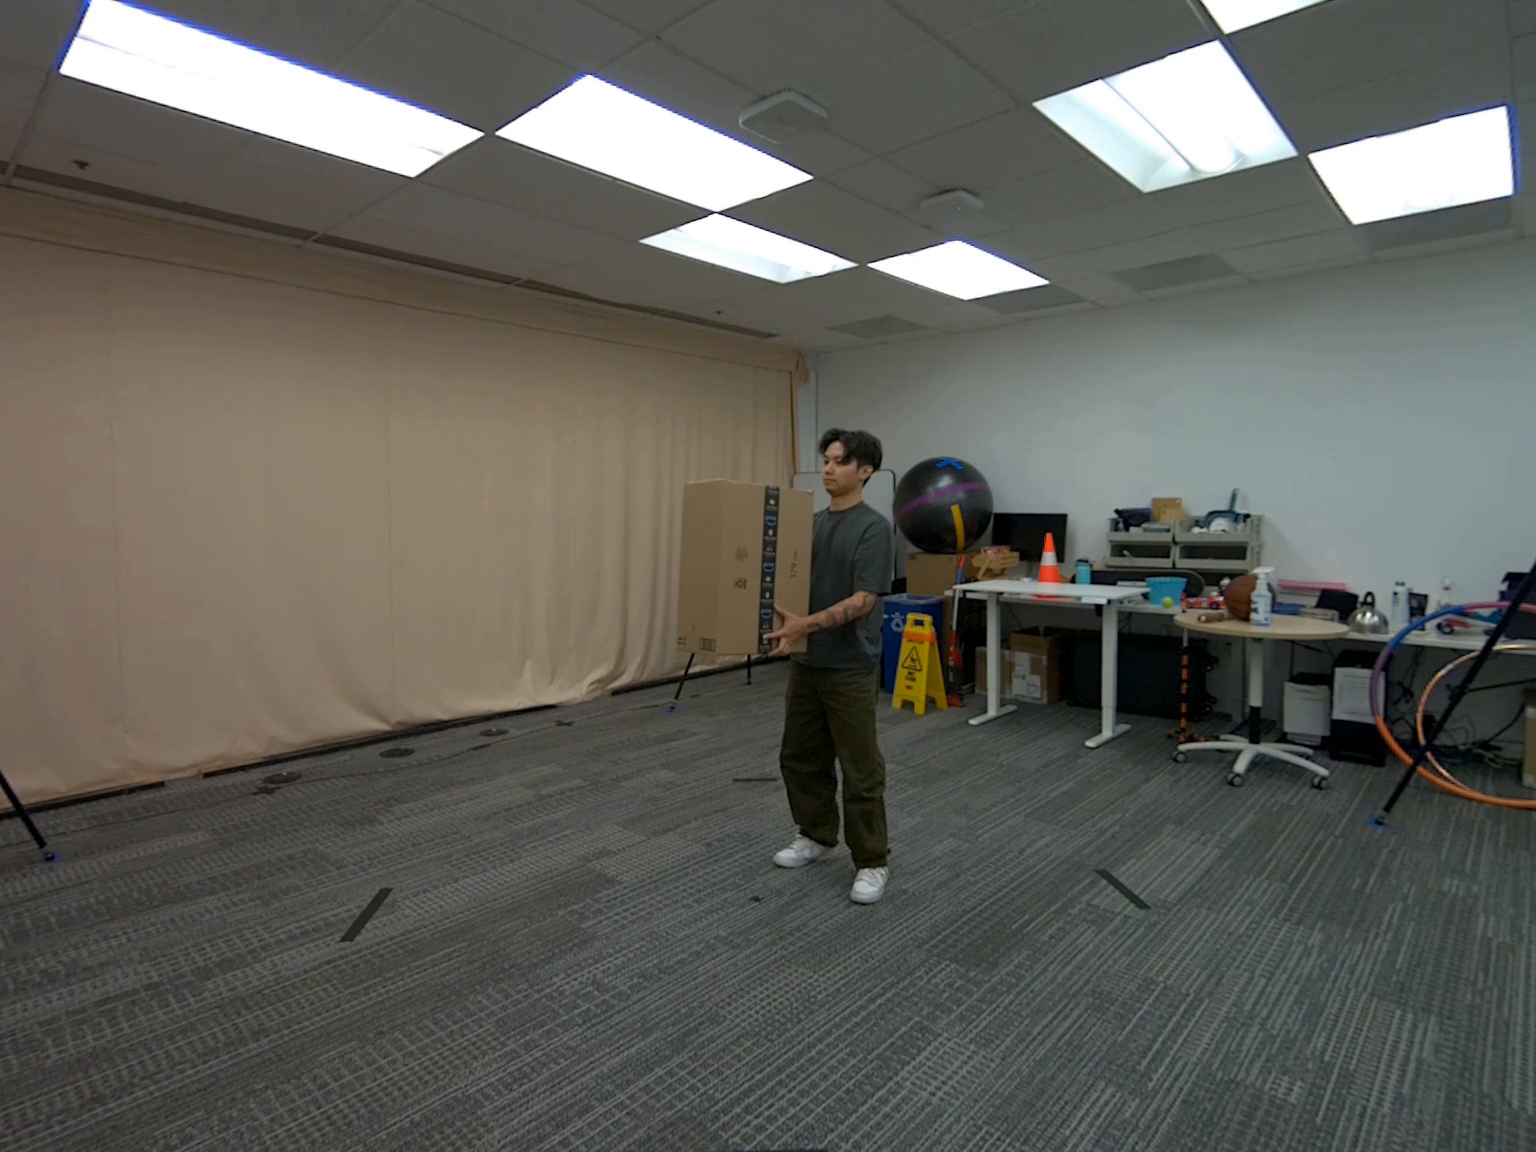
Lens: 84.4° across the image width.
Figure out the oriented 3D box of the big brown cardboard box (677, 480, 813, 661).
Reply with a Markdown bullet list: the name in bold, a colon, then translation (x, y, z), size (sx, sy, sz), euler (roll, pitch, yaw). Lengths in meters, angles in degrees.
- **big brown cardboard box**: translation (-0.073, -0.029, 2.886), size (0.404, 0.590, 0.240), euler (4, -3, -41)
